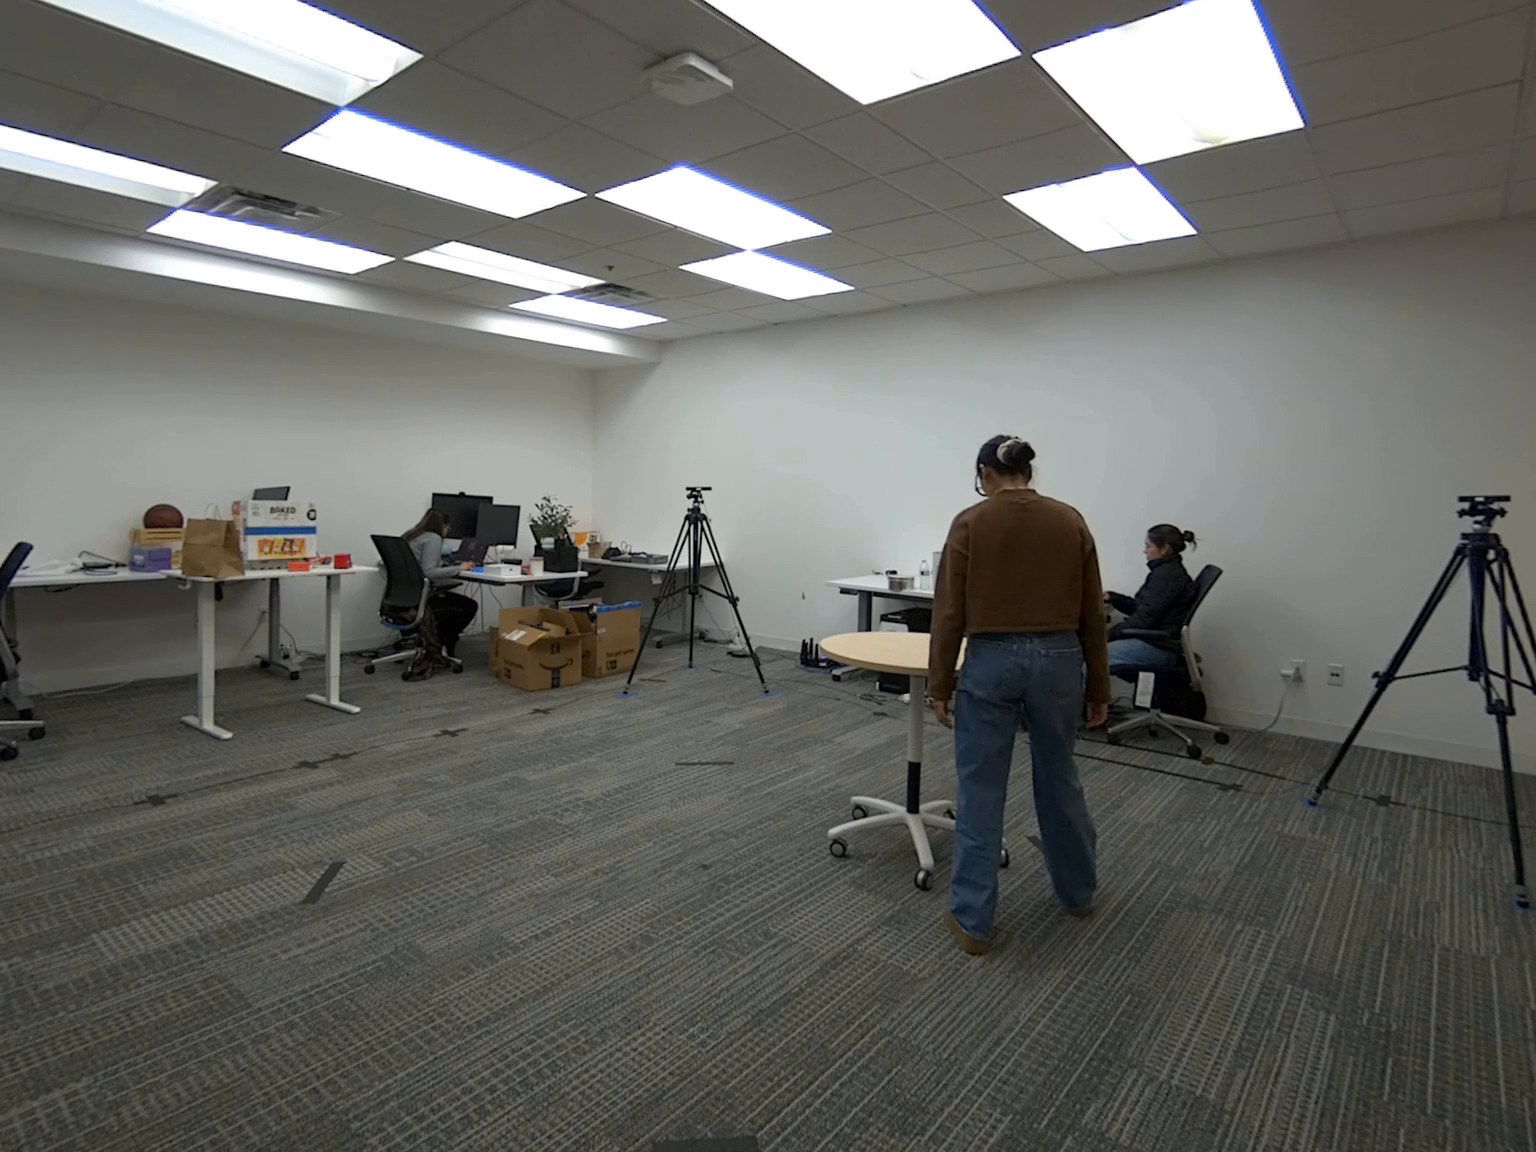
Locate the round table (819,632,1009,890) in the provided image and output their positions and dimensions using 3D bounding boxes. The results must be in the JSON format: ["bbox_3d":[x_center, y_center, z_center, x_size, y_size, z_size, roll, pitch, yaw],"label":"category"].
[{"bbox_3d":[0.566,0.672,3.319,0.763,0.791,0.768,2,4,-2],"label":"round table"}]
